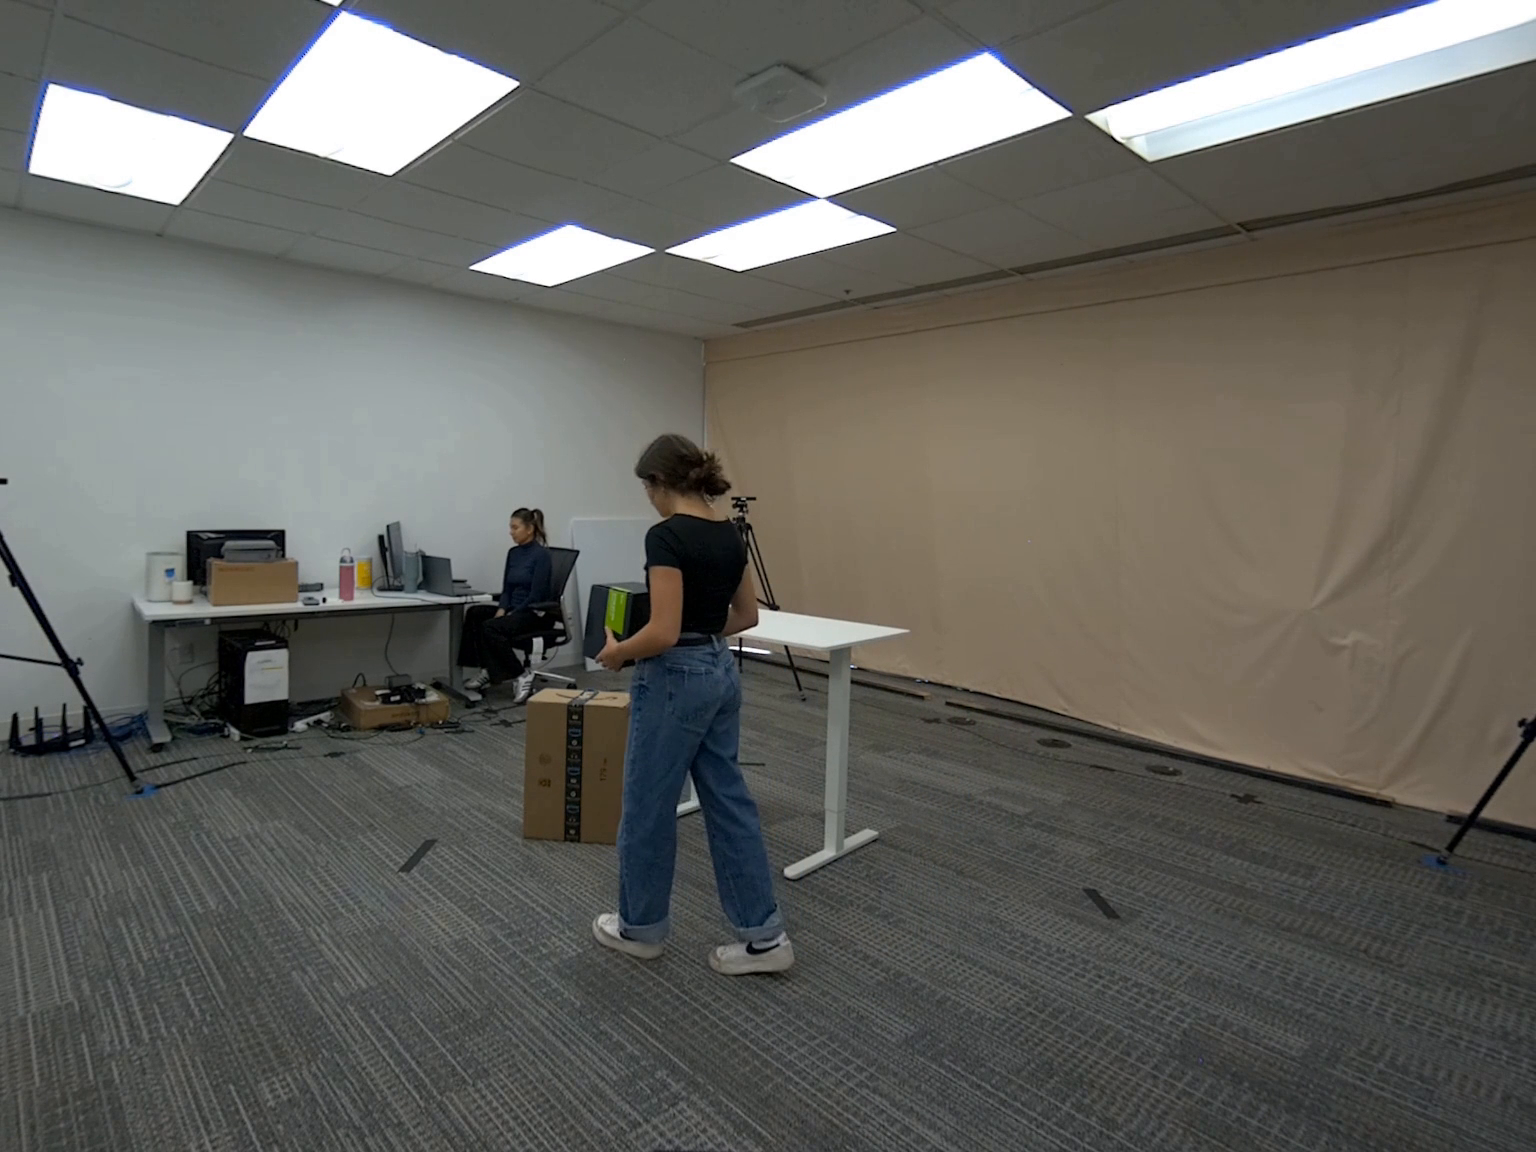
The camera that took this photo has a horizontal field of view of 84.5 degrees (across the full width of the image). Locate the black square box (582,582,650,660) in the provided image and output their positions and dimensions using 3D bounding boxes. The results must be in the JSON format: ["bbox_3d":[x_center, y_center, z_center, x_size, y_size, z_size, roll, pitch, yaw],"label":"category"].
[{"bbox_3d":[-0.432,0.145,2.615,0.159,0.227,0.213,10,6,27],"label":"black square box"}]
